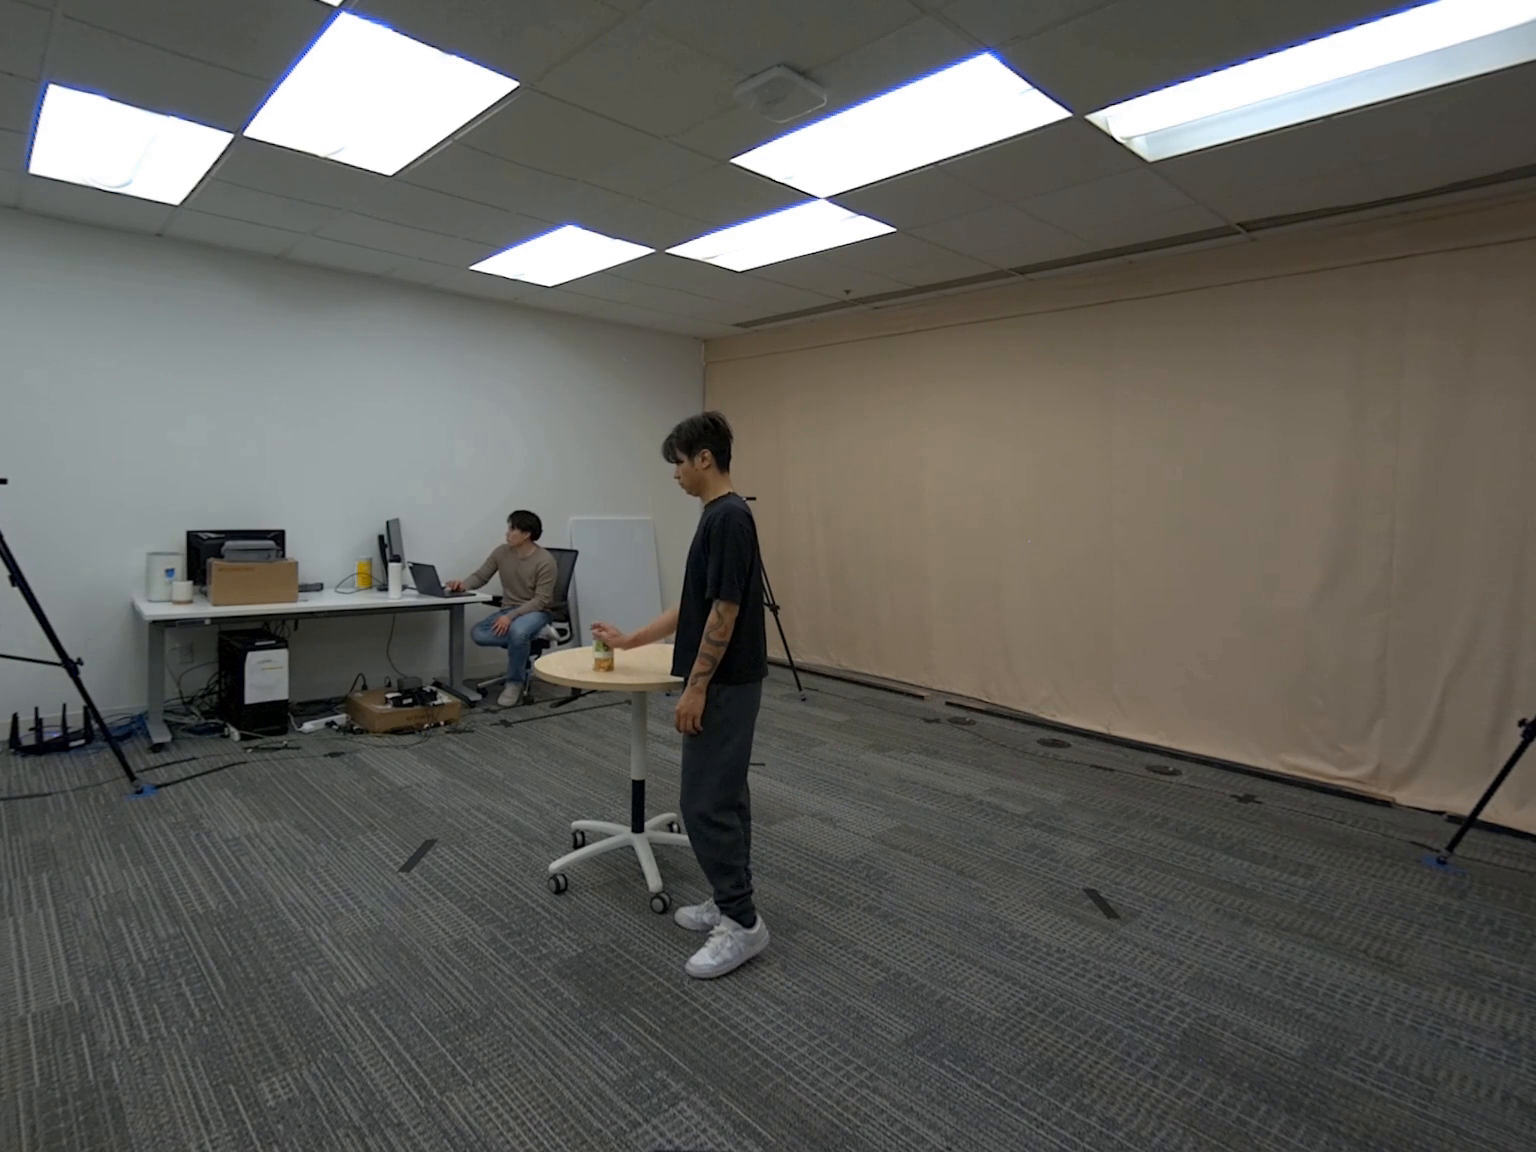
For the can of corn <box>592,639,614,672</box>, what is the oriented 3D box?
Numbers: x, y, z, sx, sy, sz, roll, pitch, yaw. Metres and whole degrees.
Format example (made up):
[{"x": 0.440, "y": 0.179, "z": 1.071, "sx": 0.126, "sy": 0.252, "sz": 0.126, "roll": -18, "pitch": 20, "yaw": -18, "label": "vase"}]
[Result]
[{"x": -0.584, "y": 0.275, "z": 2.945, "sx": 0.074, "sy": 0.111, "sz": 0.074, "roll": 1, "pitch": 2, "yaw": -1, "label": "can of corn"}]
